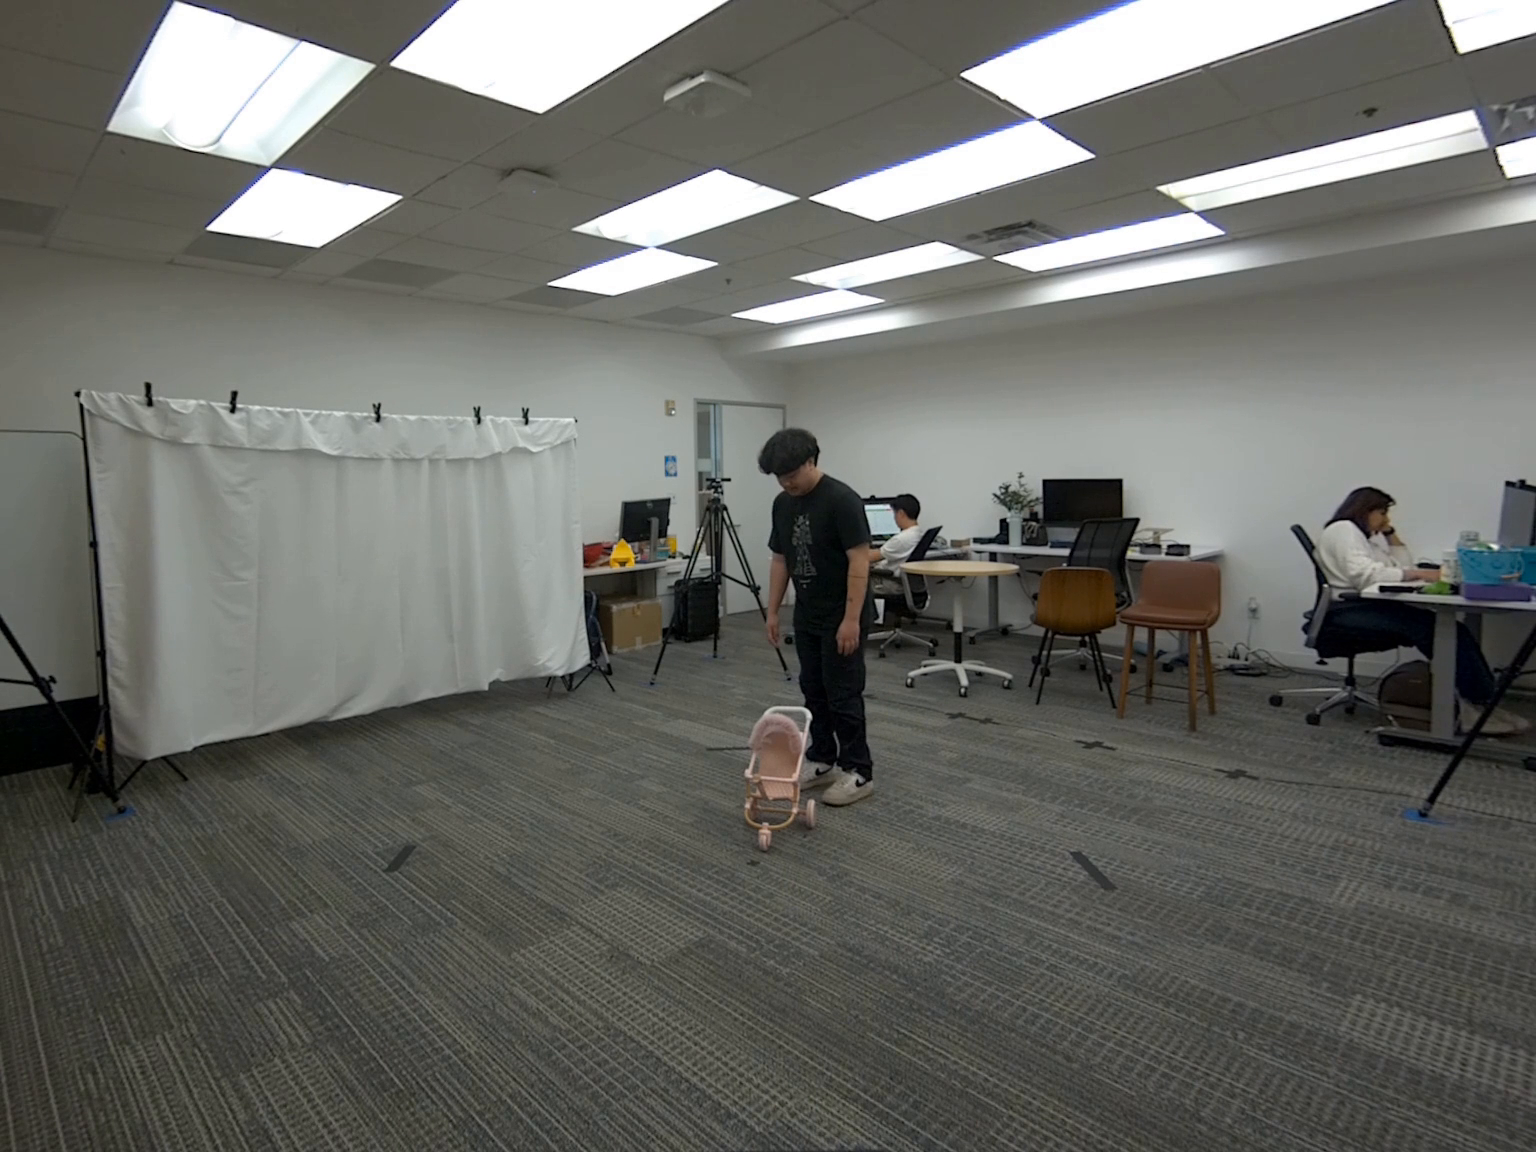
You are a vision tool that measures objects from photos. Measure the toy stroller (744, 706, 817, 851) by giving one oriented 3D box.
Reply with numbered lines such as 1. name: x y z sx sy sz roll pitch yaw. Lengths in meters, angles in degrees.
1. toy stroller: 0.029 0.785 3.378 0.287 0.540 0.332 0 -10 21
